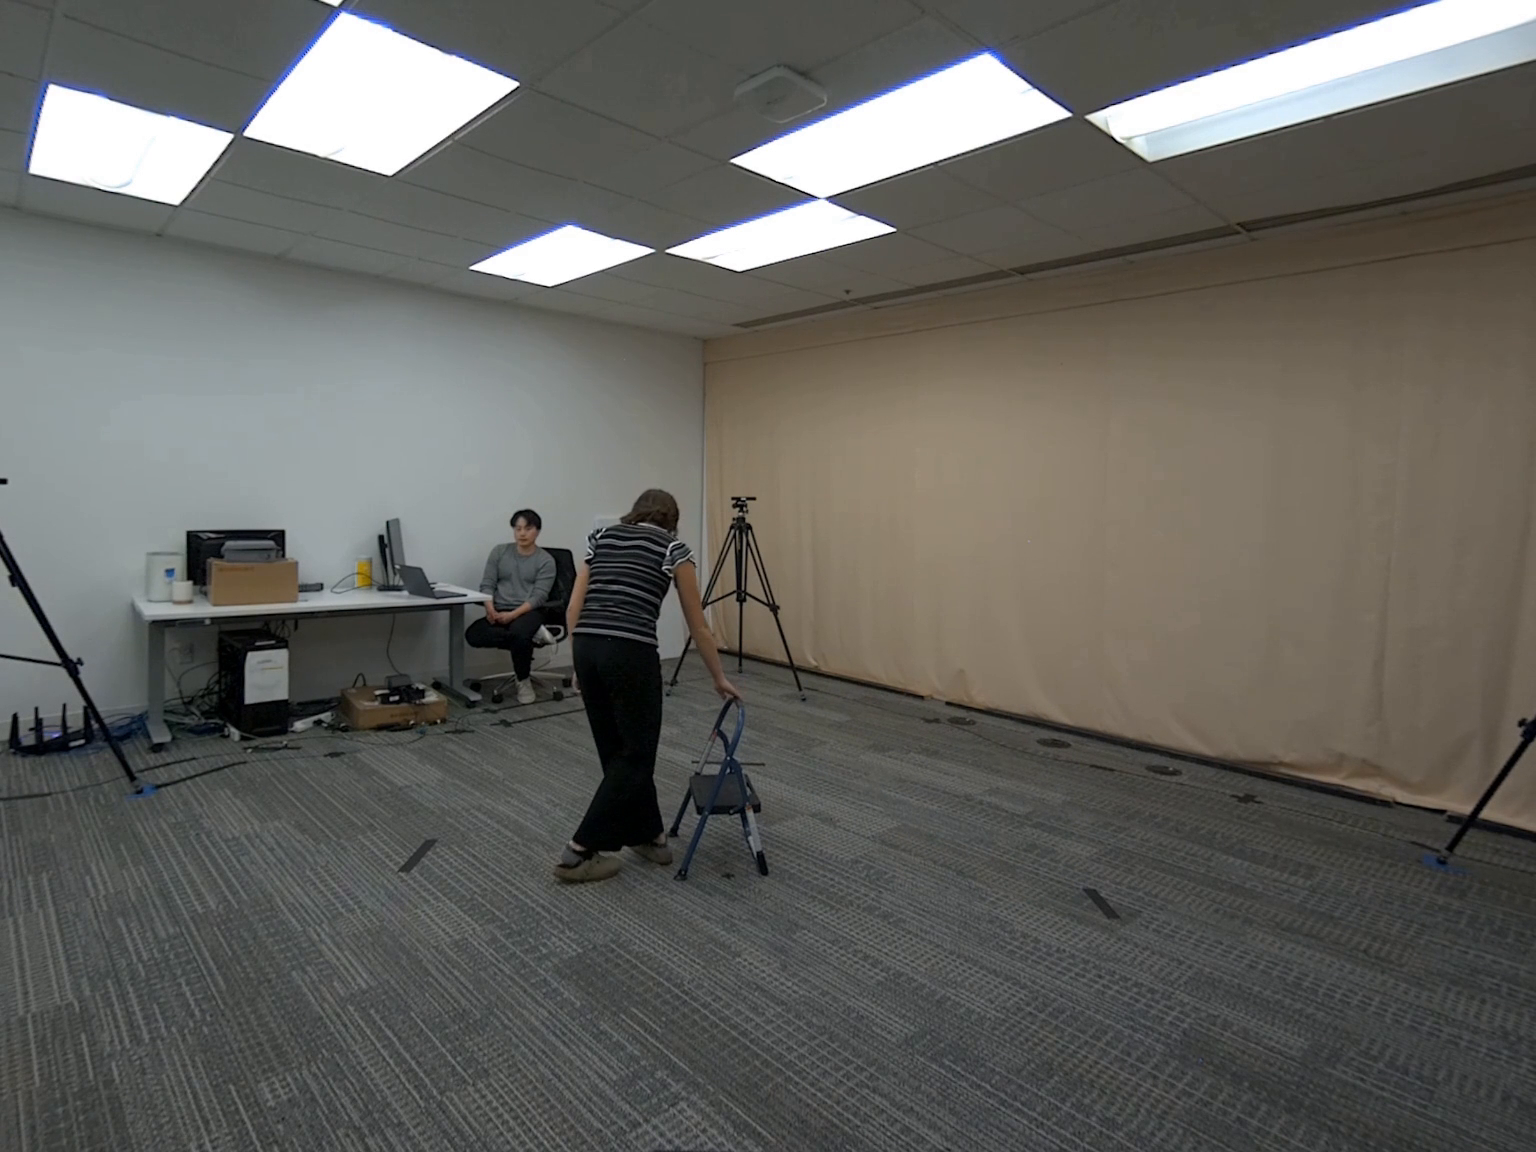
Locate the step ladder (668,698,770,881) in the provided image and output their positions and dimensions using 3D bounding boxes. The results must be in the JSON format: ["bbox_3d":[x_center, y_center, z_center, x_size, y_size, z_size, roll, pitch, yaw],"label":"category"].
[{"bbox_3d":[-0.203,0.790,3.273,0.347,0.604,0.435,0,4,-10],"label":"step ladder"}]
